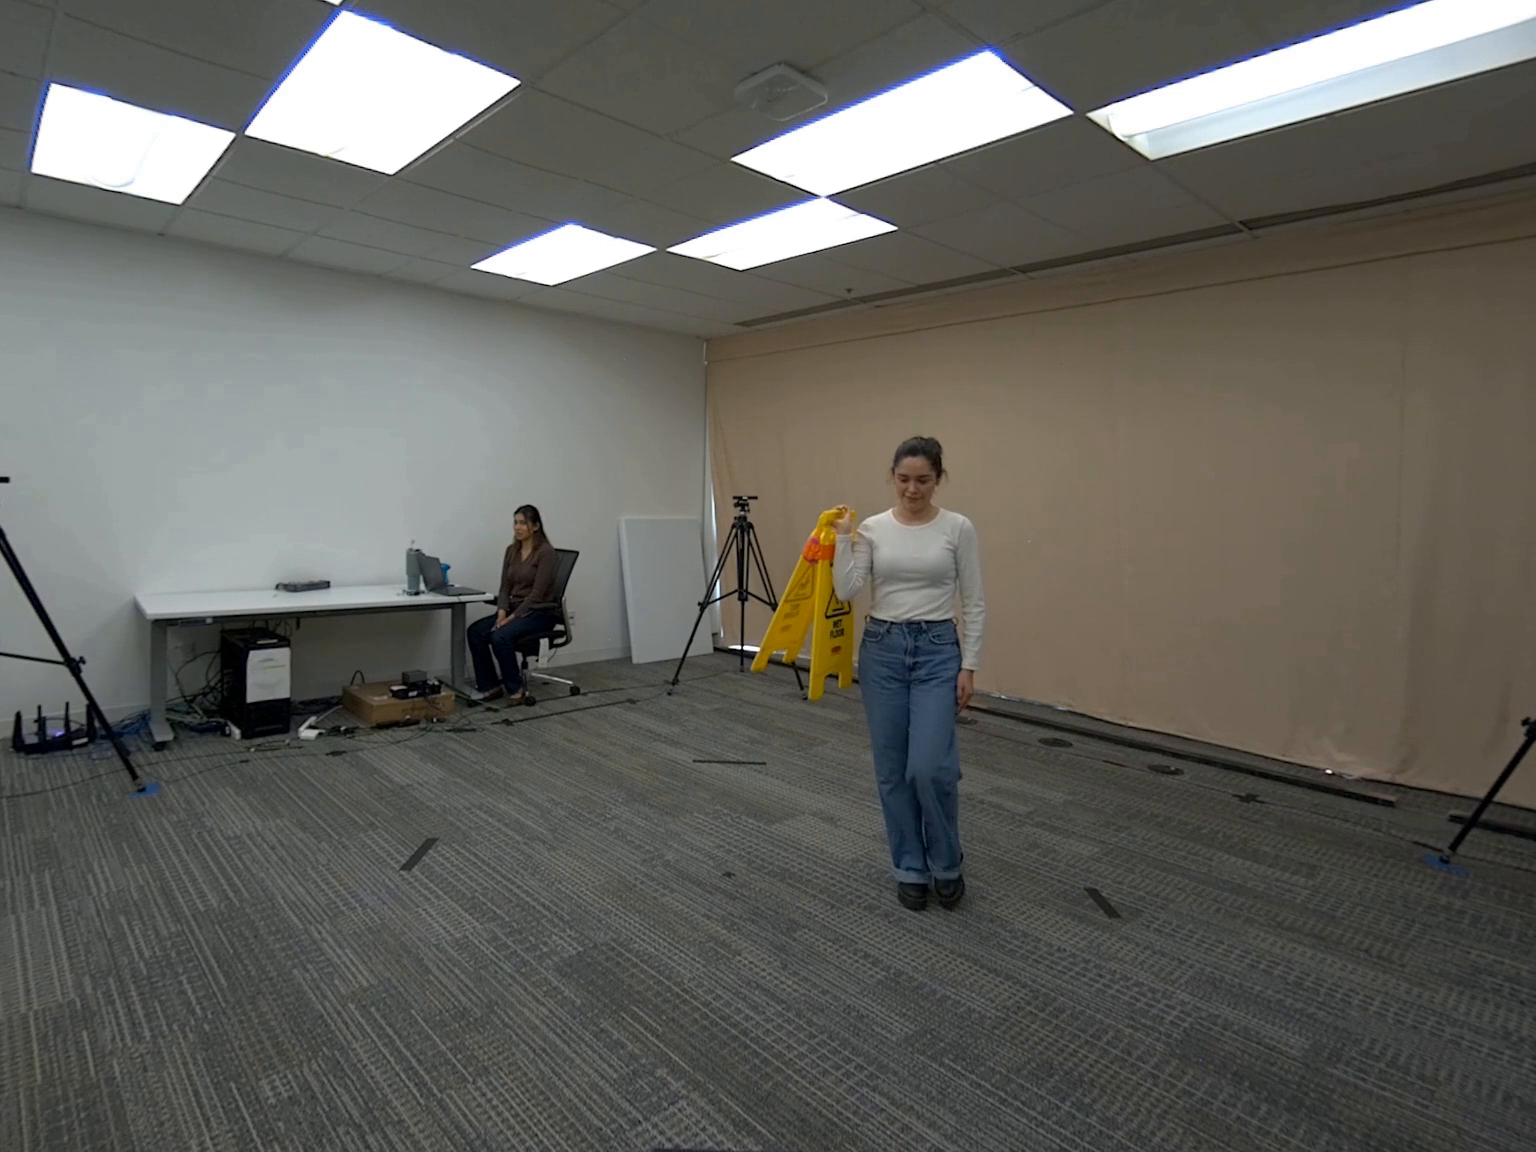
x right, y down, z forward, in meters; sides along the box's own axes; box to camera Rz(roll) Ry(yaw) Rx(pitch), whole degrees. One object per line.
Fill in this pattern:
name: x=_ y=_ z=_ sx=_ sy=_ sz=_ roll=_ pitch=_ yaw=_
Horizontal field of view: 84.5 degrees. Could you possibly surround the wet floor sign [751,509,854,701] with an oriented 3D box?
wet floor sign: x=0.184 y=0.079 z=3.033 sx=0.298 sy=0.641 sz=0.277 roll=21 pitch=17 yaw=33
